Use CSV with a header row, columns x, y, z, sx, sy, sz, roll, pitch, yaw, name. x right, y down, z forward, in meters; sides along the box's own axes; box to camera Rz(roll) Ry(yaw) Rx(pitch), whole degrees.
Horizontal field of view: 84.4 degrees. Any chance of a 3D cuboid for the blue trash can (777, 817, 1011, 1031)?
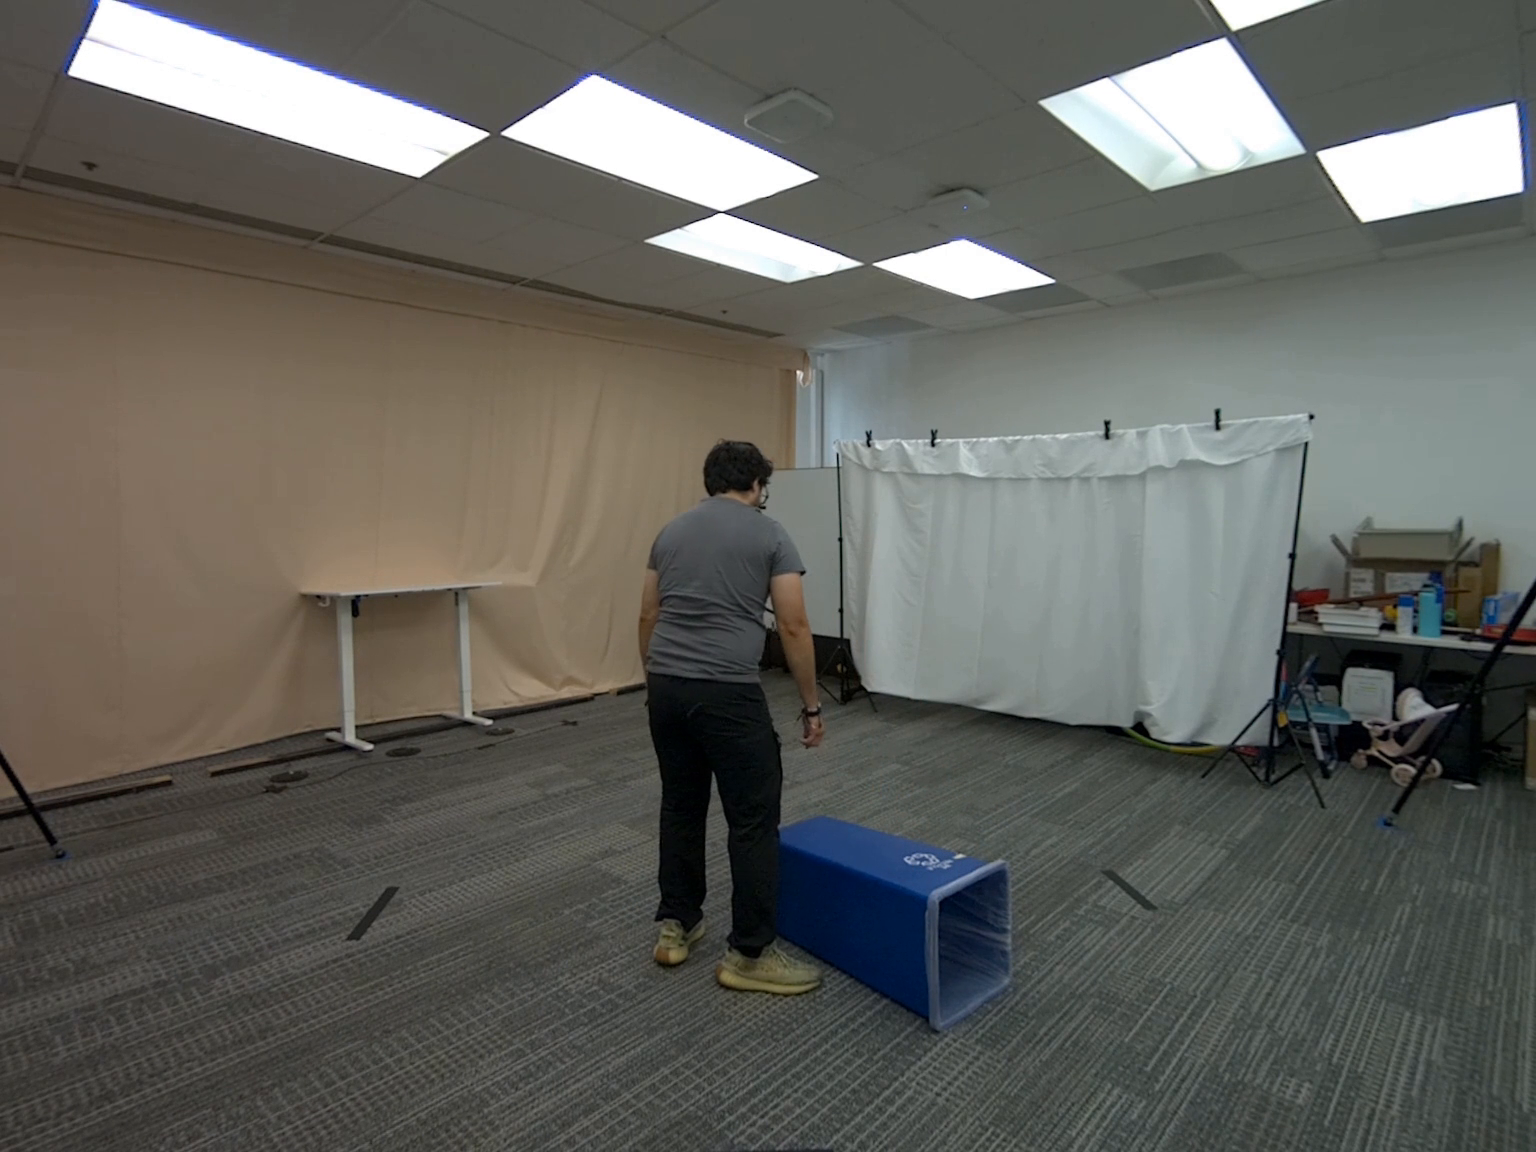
x,y,z,sx,sy,sz,roll,pitch,yaw,name
0.336,0.998,2.590,0.366,0.373,0.737,-4,4,-41,blue trash can
